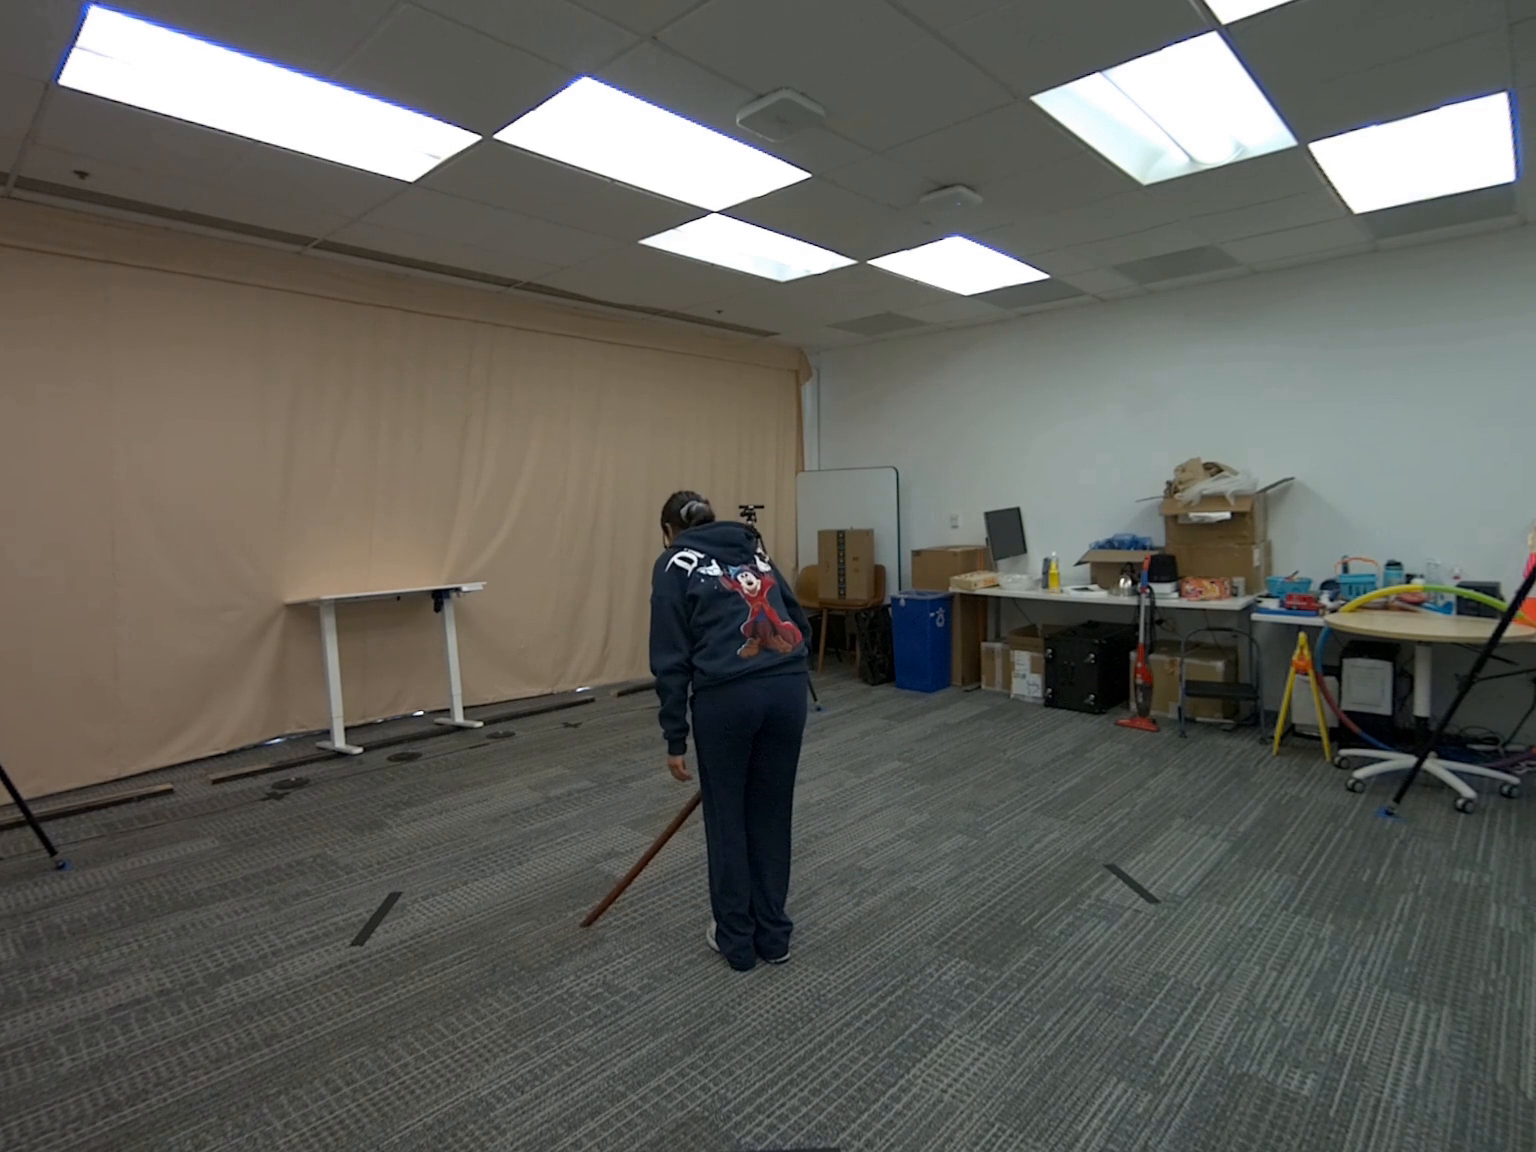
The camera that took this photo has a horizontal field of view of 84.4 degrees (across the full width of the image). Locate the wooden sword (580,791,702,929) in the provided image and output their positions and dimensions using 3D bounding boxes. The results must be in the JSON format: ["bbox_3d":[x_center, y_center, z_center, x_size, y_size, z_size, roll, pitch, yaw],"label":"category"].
[{"bbox_3d":[-0.295,0.812,2.823,0.049,1.023,0.025,46,-6,-38],"label":"wooden sword"}]
